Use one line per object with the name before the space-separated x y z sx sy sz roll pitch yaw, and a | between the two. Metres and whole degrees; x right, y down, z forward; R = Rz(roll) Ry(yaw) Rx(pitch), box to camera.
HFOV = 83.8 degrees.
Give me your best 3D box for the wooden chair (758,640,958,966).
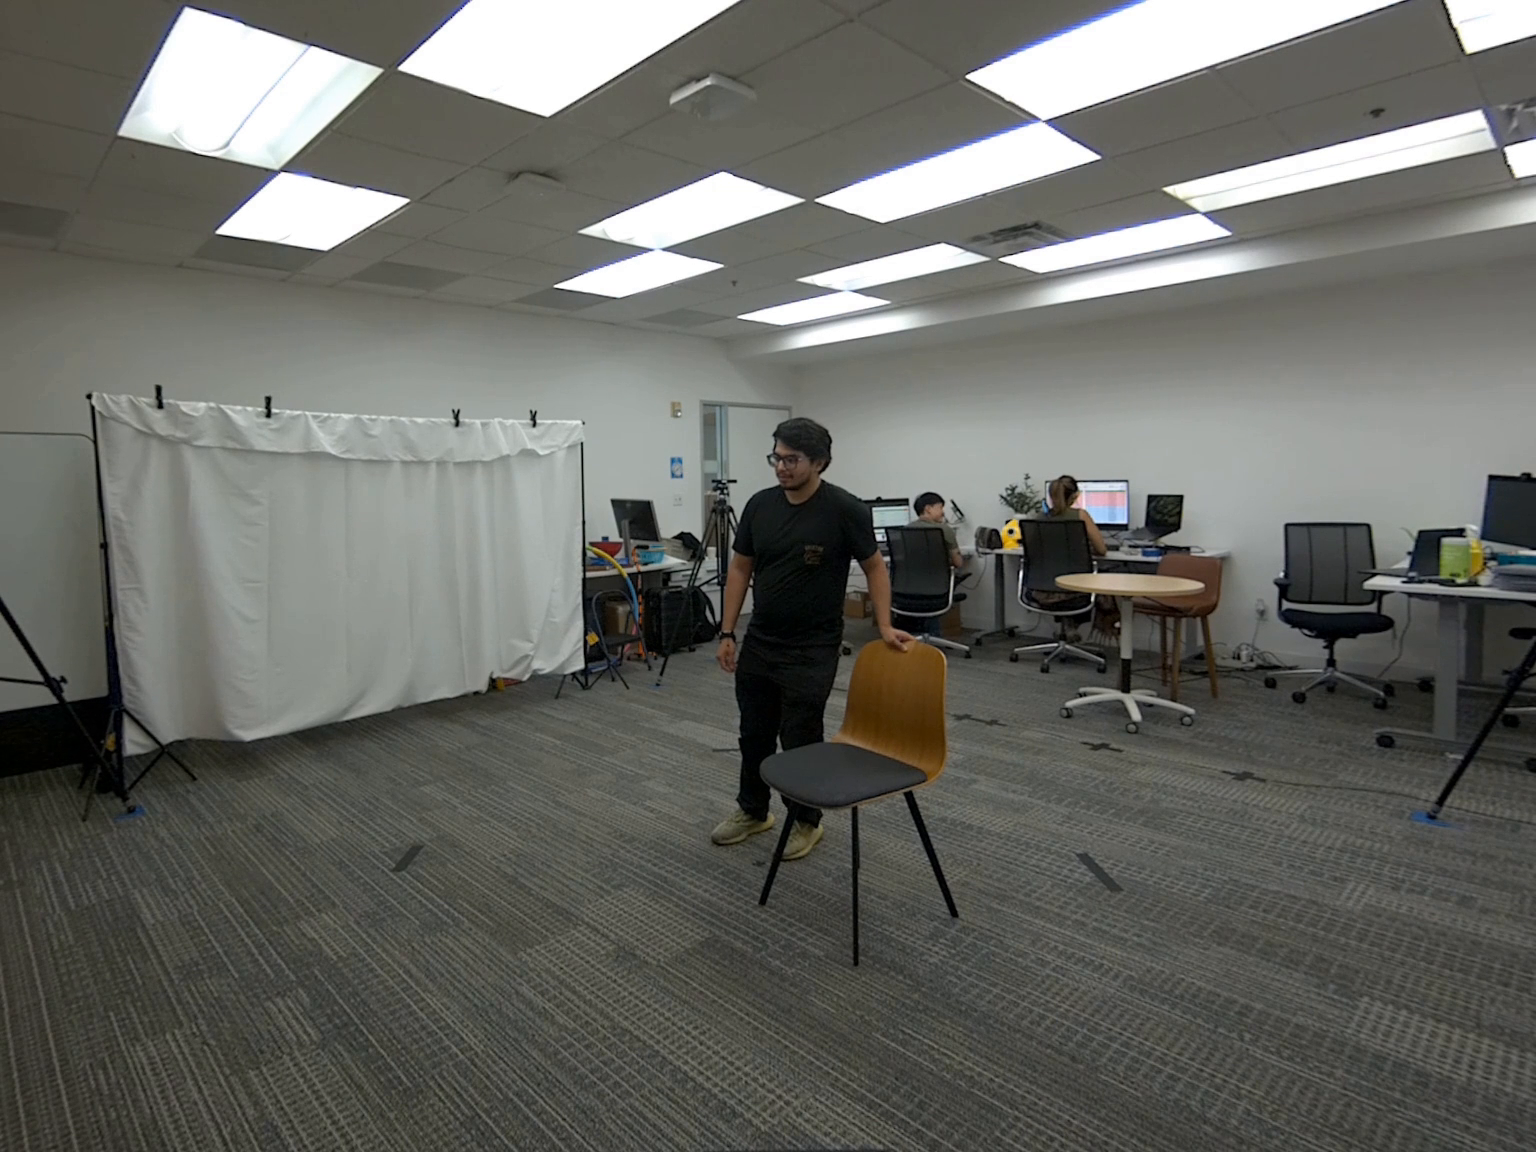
wooden chair | 0.279 0.661 2.714 0.508 0.877 0.492 1 2 -38
